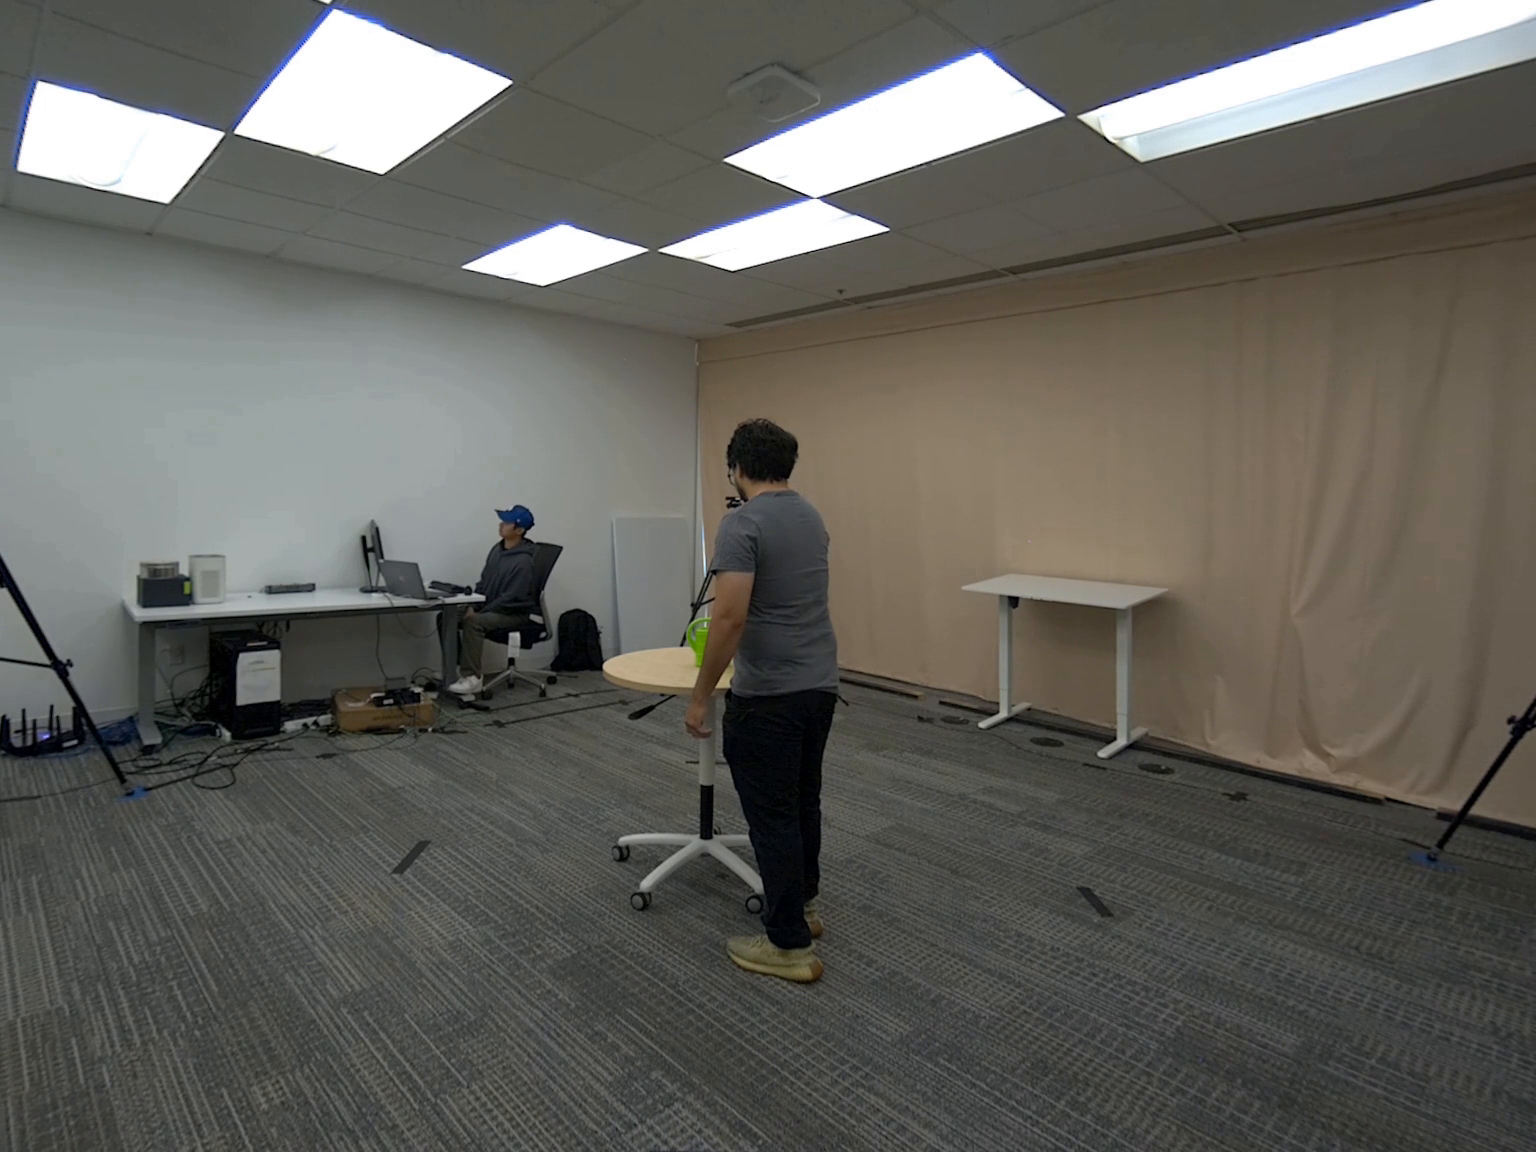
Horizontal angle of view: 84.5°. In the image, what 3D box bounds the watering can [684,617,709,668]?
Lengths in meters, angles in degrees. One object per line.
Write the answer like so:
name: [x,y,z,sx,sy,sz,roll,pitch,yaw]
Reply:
watering can: [-0.161,0.247,3.040,0.280,0.176,0.098,0,5,6]
